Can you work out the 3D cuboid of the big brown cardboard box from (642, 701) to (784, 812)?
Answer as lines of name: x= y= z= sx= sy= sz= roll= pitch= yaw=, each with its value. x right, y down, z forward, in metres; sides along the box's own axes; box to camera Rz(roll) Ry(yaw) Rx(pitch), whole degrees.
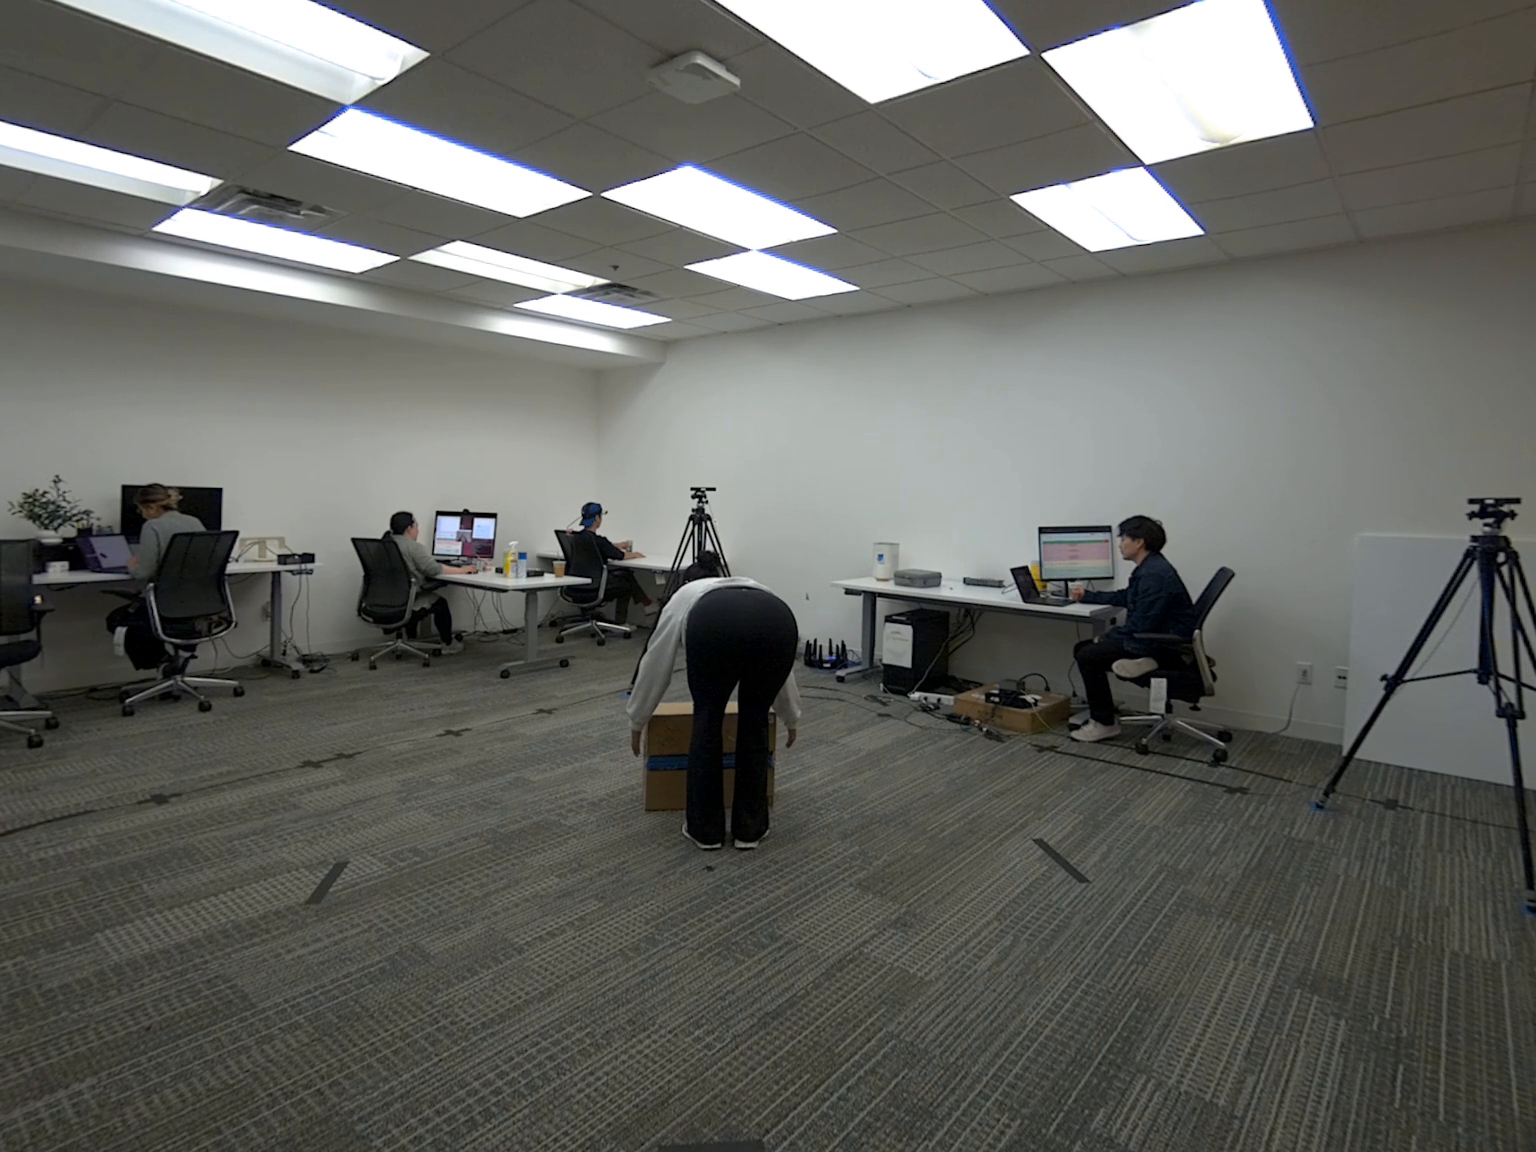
big brown cardboard box: x=-0.273 y=0.791 z=3.792 sx=0.585 sy=0.417 sz=0.235 roll=0 pitch=0 yaw=-6
